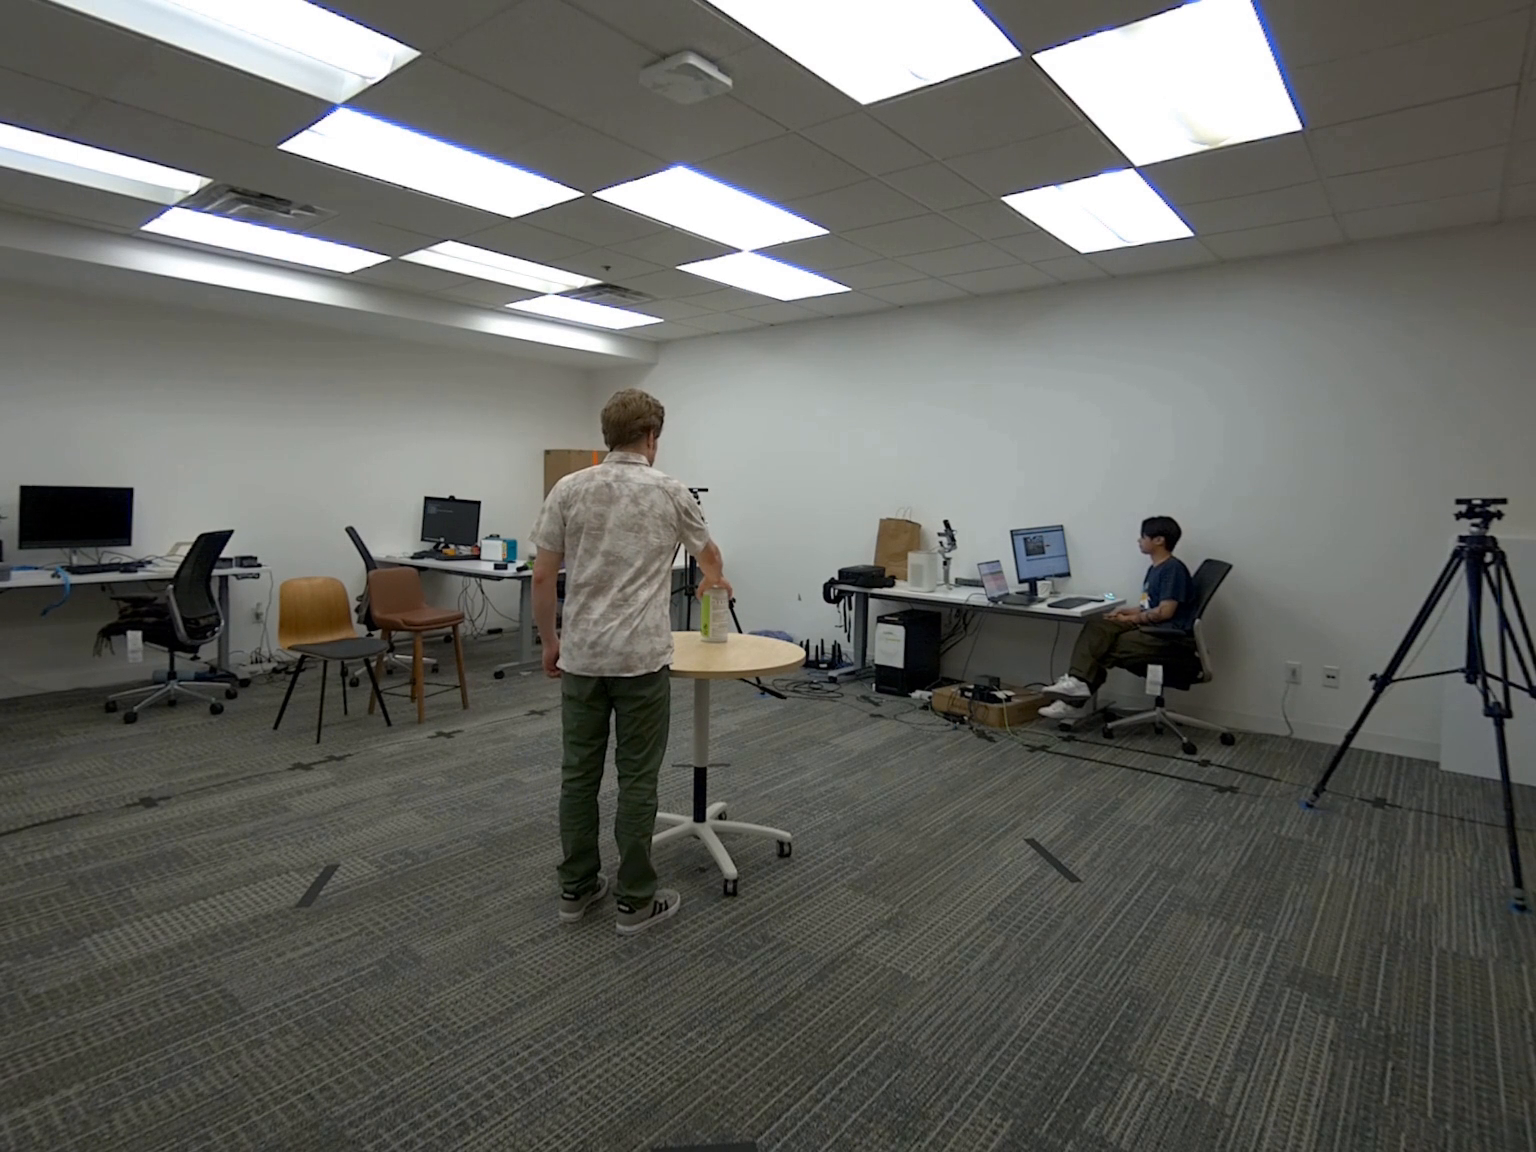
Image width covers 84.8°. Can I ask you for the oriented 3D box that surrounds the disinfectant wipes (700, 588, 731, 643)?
[{"bbox_3d":[-0.217,0.144,3.349,0.117,0.216,0.118,1,6,-2],"label":"disinfectant wipes"}]
